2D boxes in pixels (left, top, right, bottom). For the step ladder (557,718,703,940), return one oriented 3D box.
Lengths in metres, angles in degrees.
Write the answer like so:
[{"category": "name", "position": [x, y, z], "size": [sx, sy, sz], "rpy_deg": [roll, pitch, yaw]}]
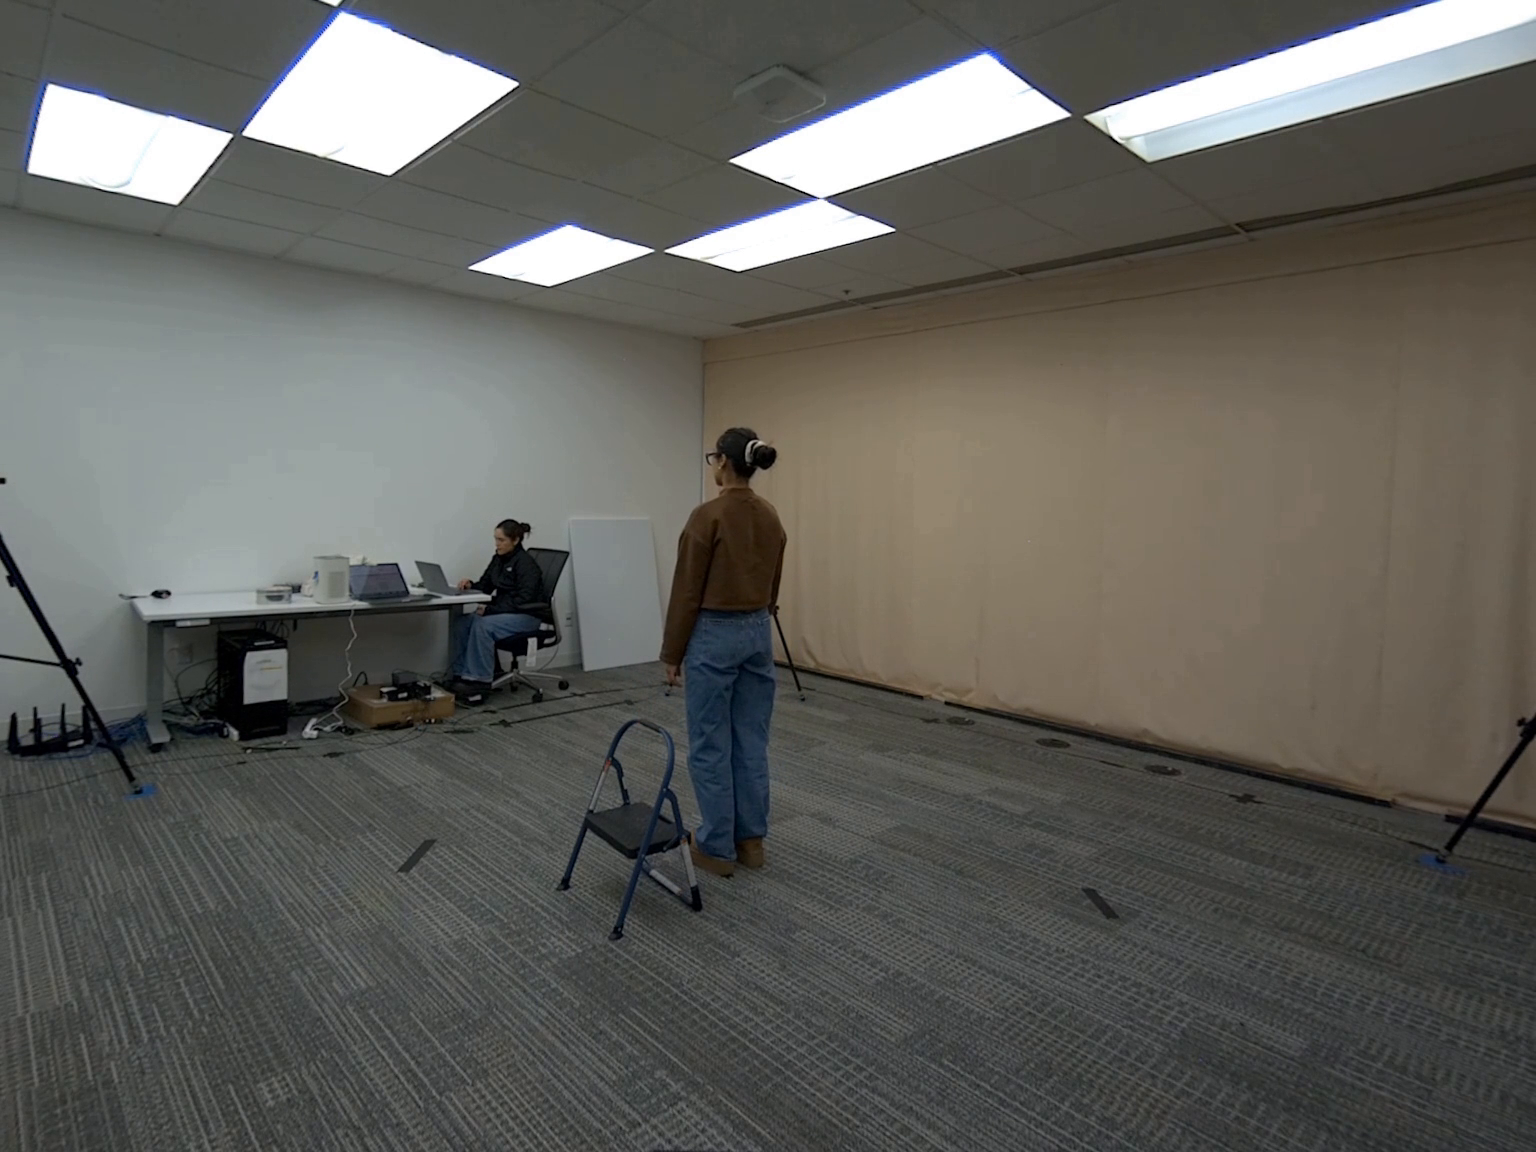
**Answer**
[{"category": "step ladder", "position": [-0.476, 0.815, 2.885], "size": [0.341, 0.605, 0.441], "rpy_deg": [0, 4, -37]}]
